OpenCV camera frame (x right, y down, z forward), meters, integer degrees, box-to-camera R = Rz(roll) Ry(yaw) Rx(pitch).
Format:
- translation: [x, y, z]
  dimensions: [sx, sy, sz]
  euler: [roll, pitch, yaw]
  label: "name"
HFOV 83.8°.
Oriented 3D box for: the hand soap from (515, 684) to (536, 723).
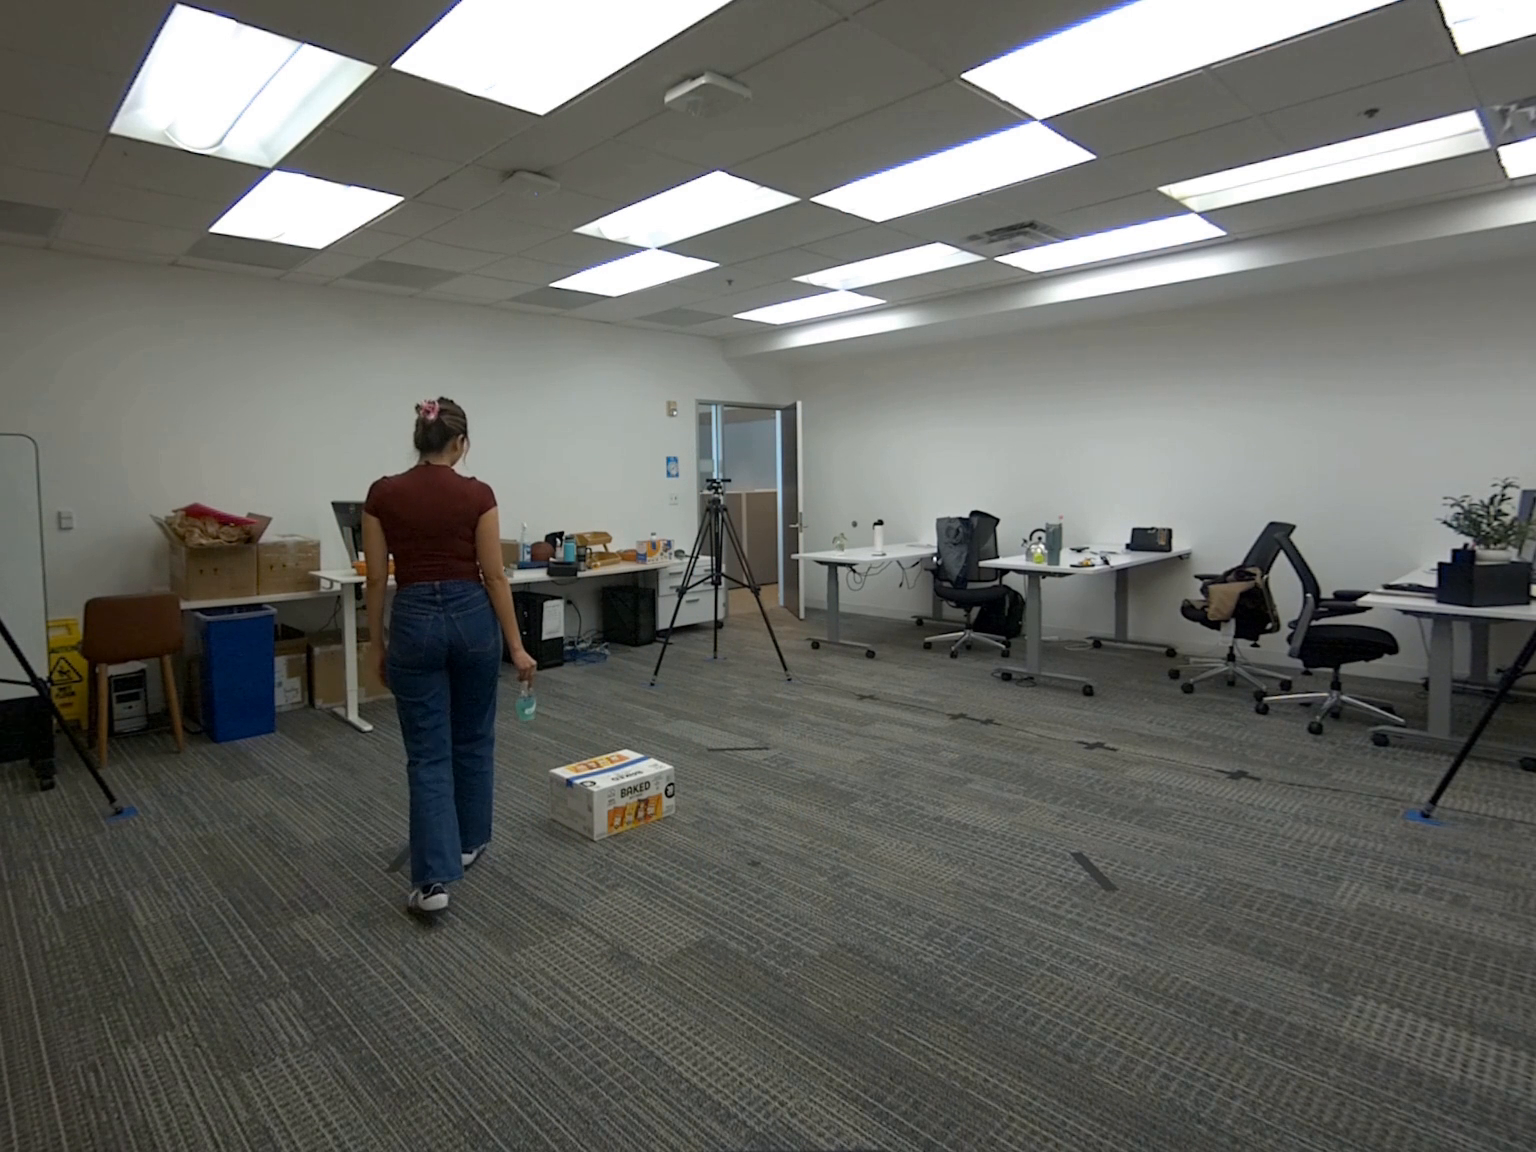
- translation: [-0.872, 0.431, 3.061]
  dimensions: [0.044, 0.167, 0.083]
  euler: [2, 7, 33]
  label: "hand soap"
